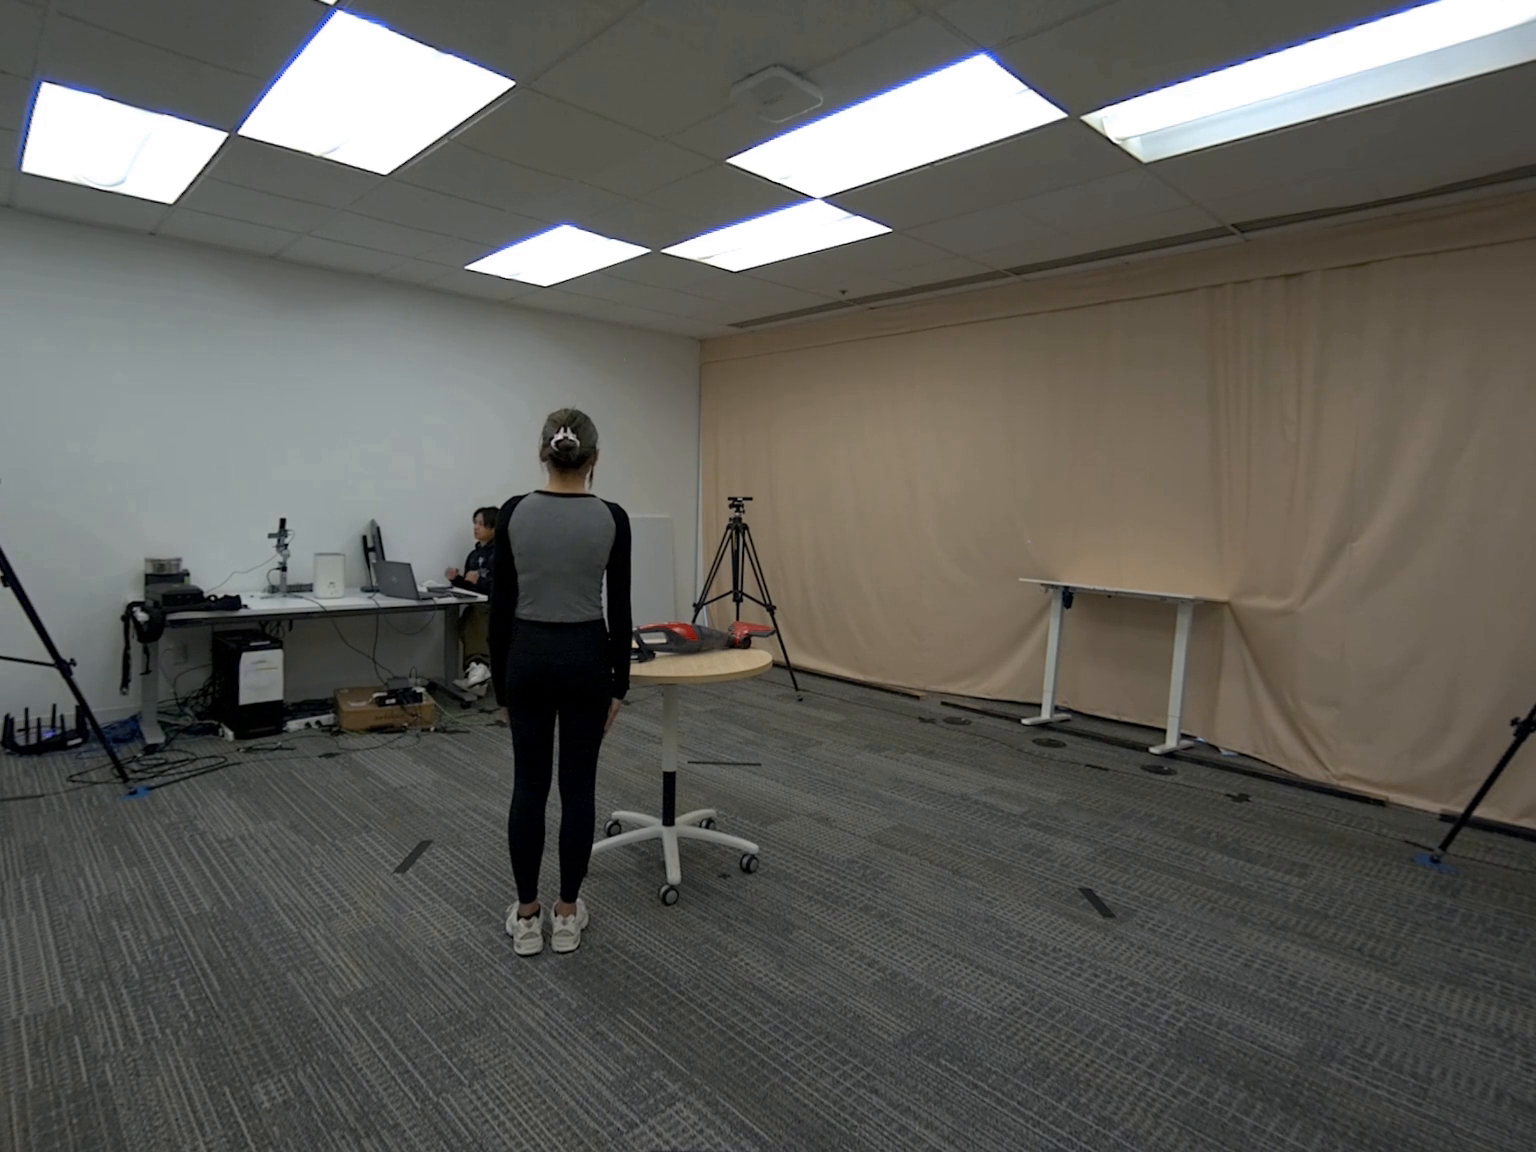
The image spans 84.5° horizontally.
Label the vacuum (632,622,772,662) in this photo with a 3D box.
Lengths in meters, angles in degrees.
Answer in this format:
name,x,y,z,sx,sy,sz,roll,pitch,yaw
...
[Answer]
name,x,y,z,sx,sy,sz,roll,pitch,yaw
vacuum,-0.479,0.261,3.097,1.025,0.143,0.259,-1,6,-42
